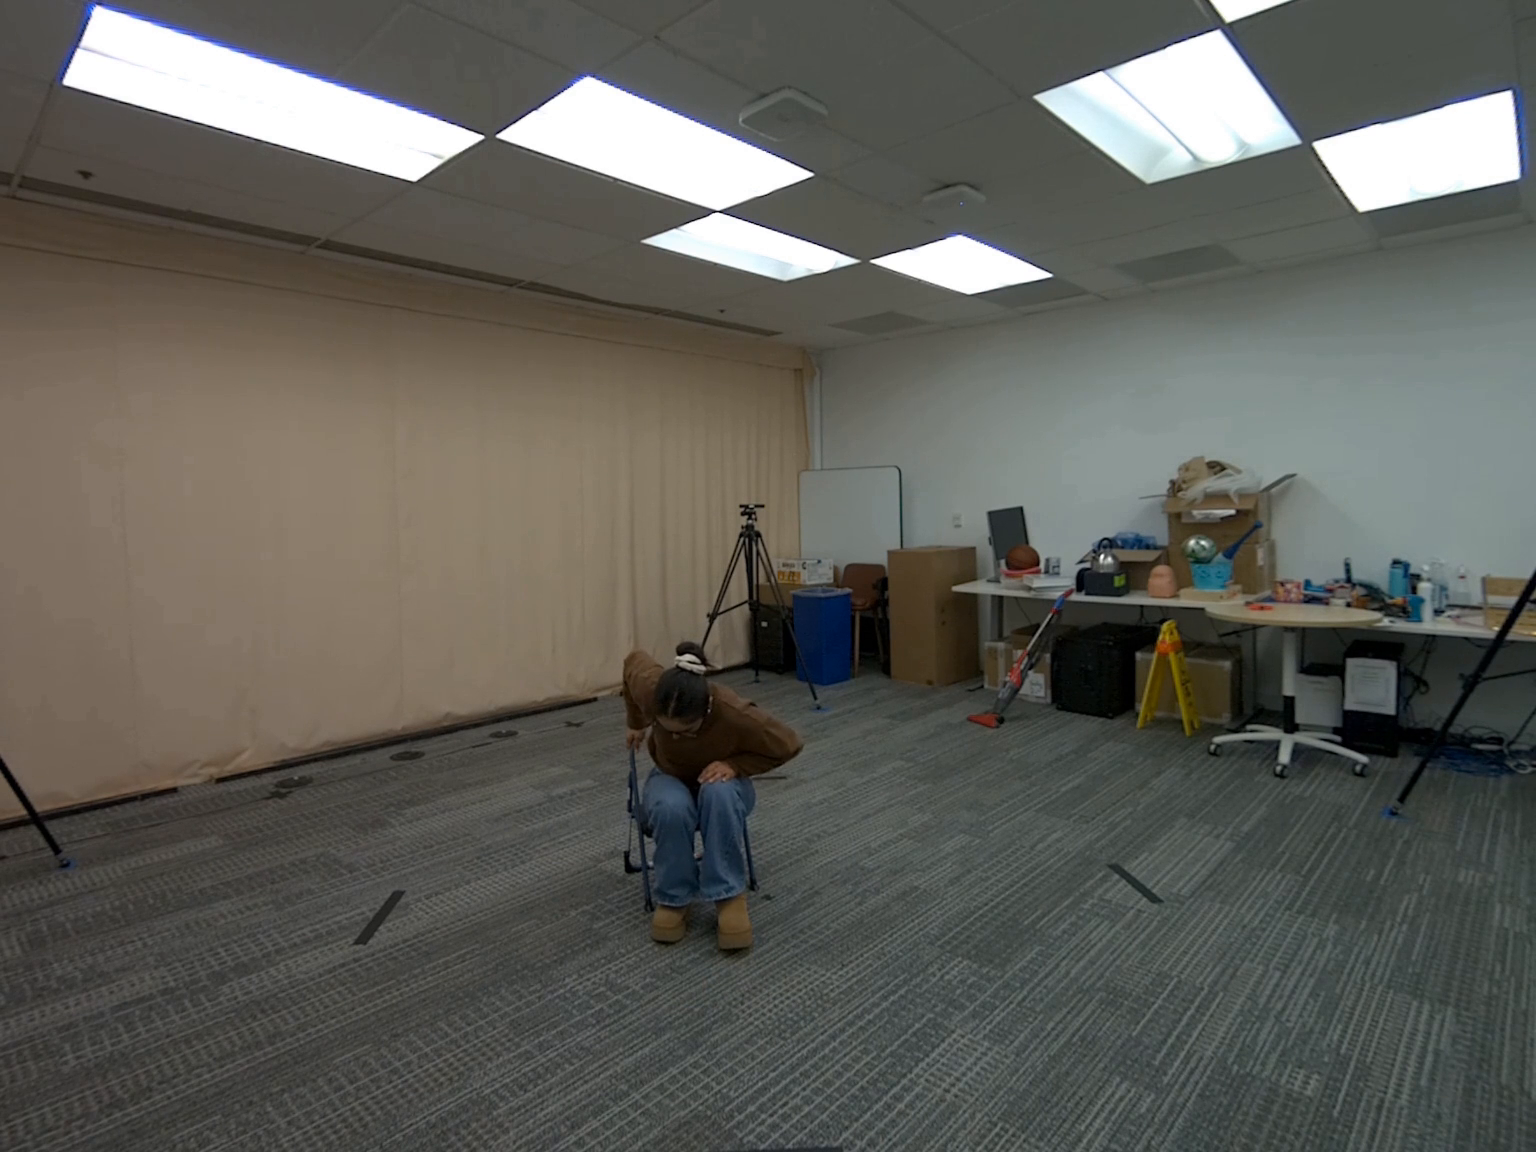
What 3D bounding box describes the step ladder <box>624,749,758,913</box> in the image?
[{"bbox_3d":[-0.296,0.836,3.120,0.421,0.604,0.357,-3,4,-22],"label":"step ladder"}]
